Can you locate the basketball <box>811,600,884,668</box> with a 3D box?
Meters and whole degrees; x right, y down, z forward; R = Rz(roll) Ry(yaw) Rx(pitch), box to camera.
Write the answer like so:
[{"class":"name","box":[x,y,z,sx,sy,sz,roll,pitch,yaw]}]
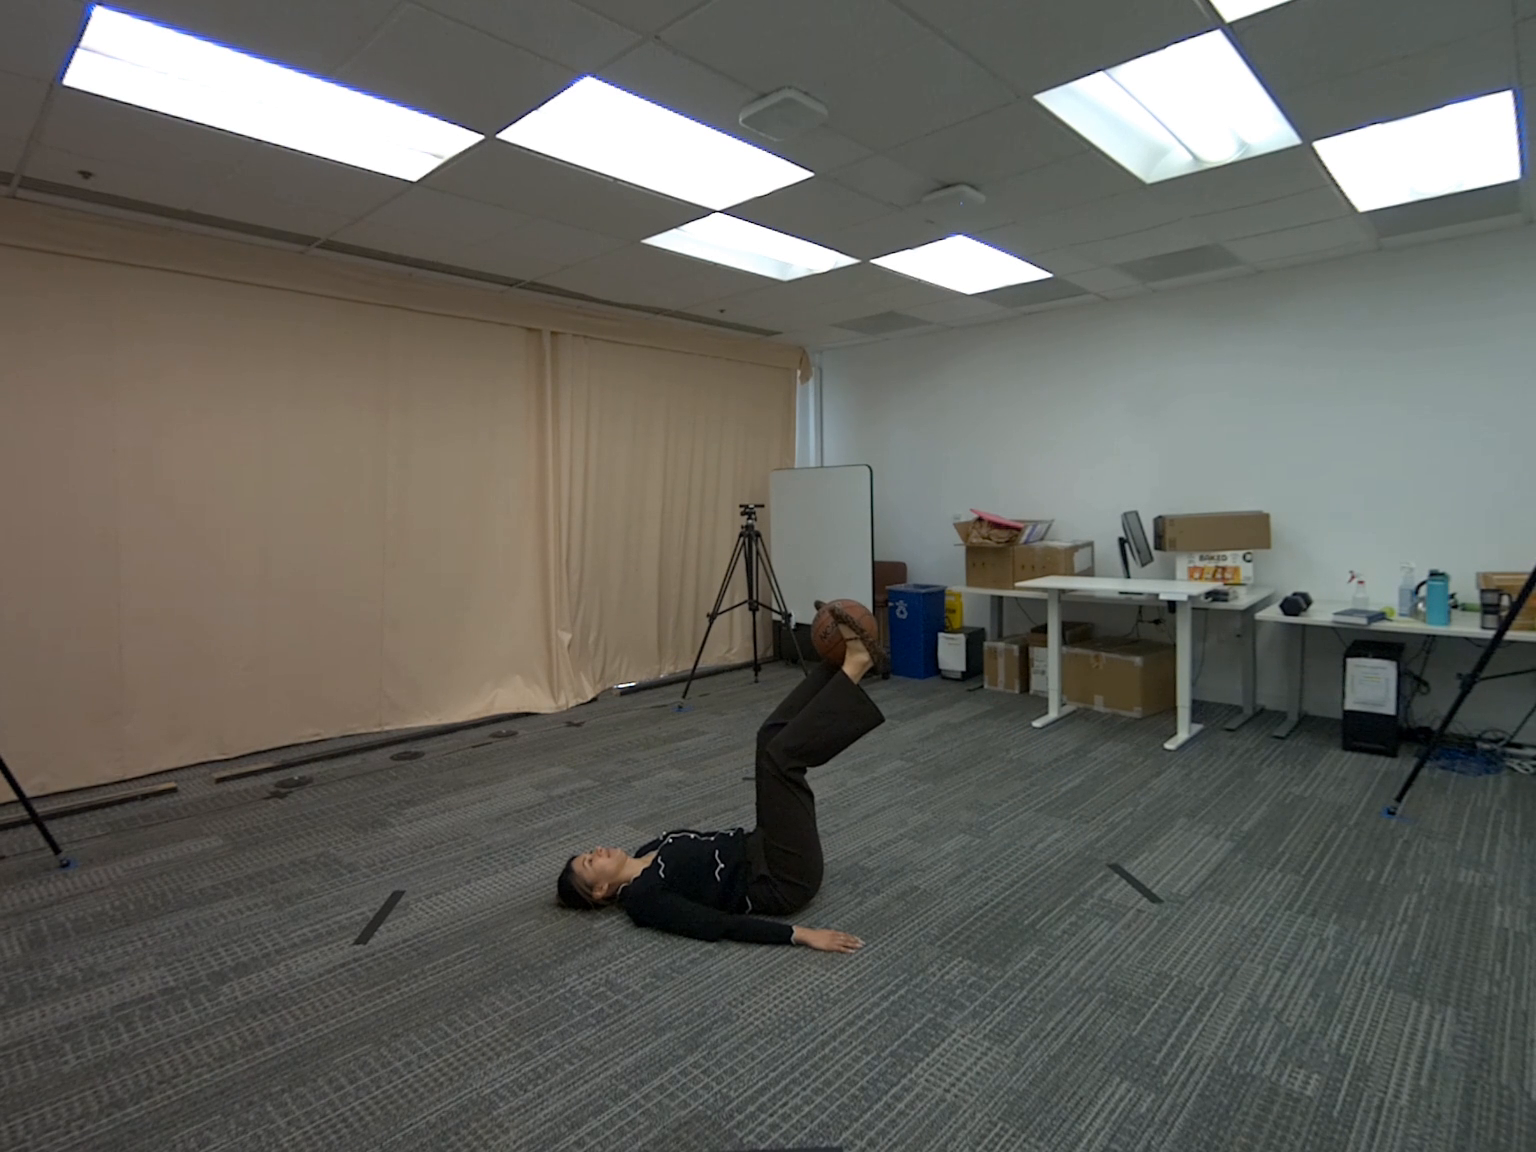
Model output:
[{"class":"basketball","box":[0.275,0.199,2.985,0.236,0.236,0.236,0,1,-2]}]
